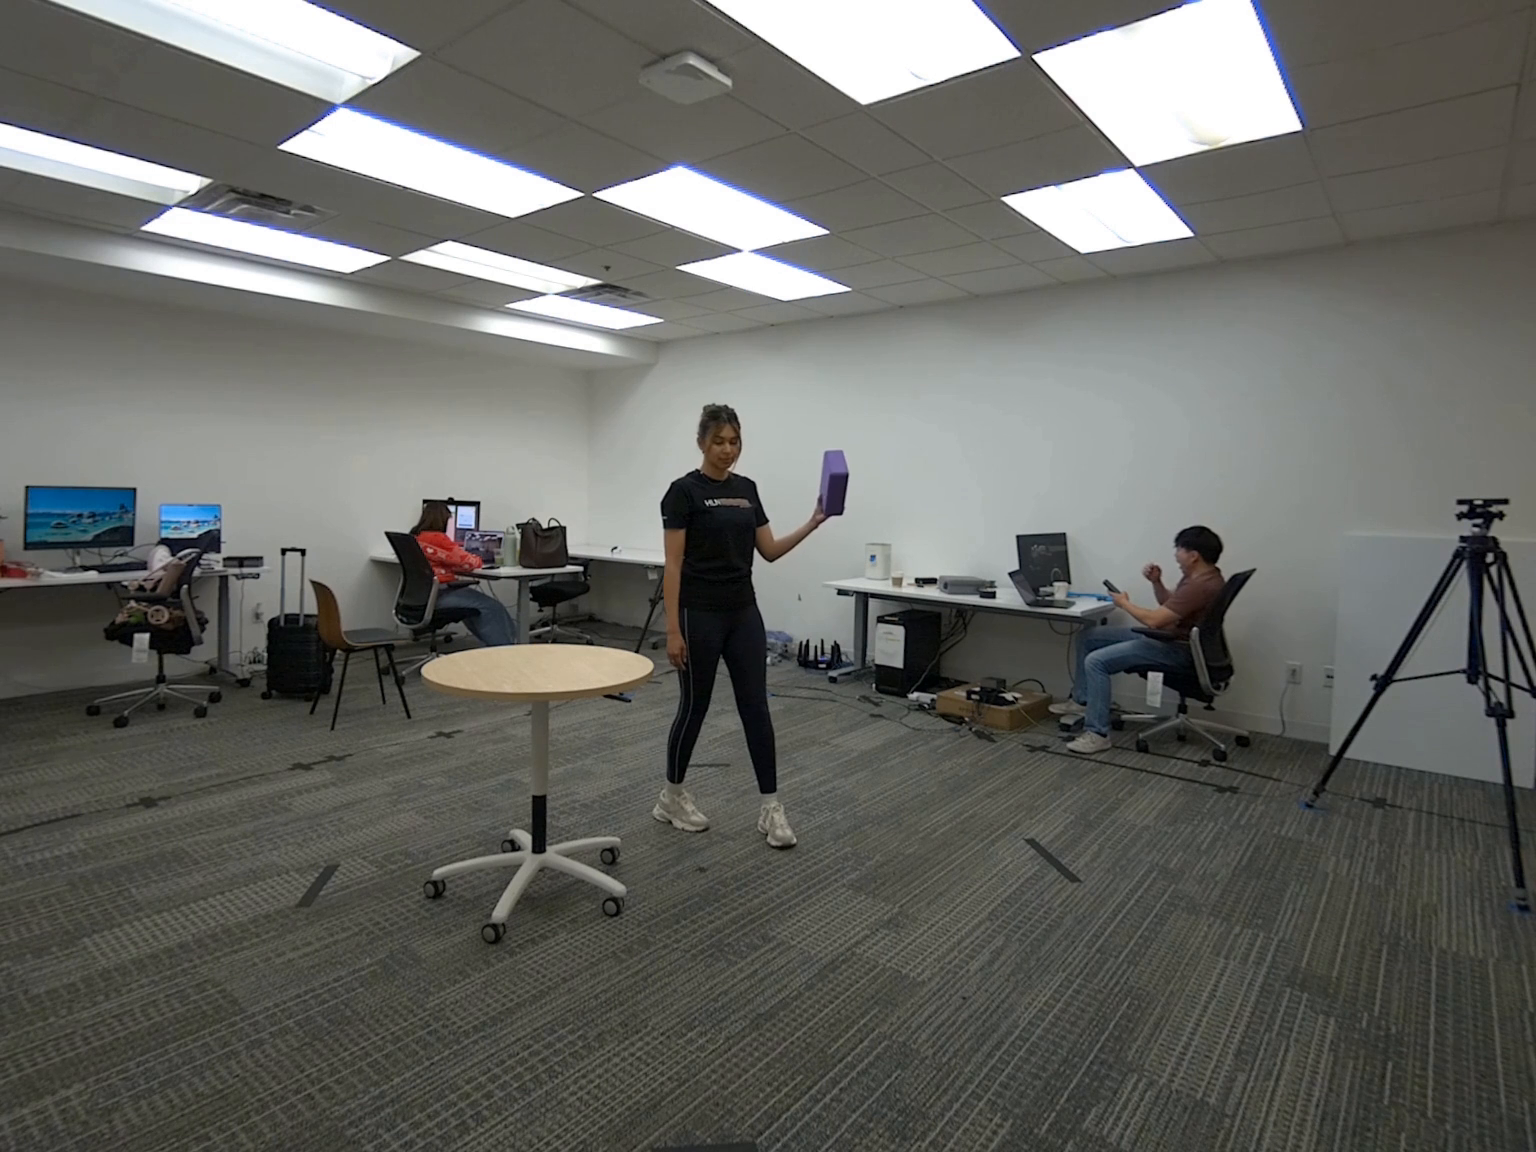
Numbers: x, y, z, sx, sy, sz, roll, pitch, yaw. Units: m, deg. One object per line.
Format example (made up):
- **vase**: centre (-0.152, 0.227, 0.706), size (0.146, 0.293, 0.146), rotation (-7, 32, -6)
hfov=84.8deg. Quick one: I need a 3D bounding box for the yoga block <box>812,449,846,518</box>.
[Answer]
- **yoga block**: centre (0.240, -0.370, 3.342), size (0.076, 0.223, 0.154), rotation (0, 46, -7)
